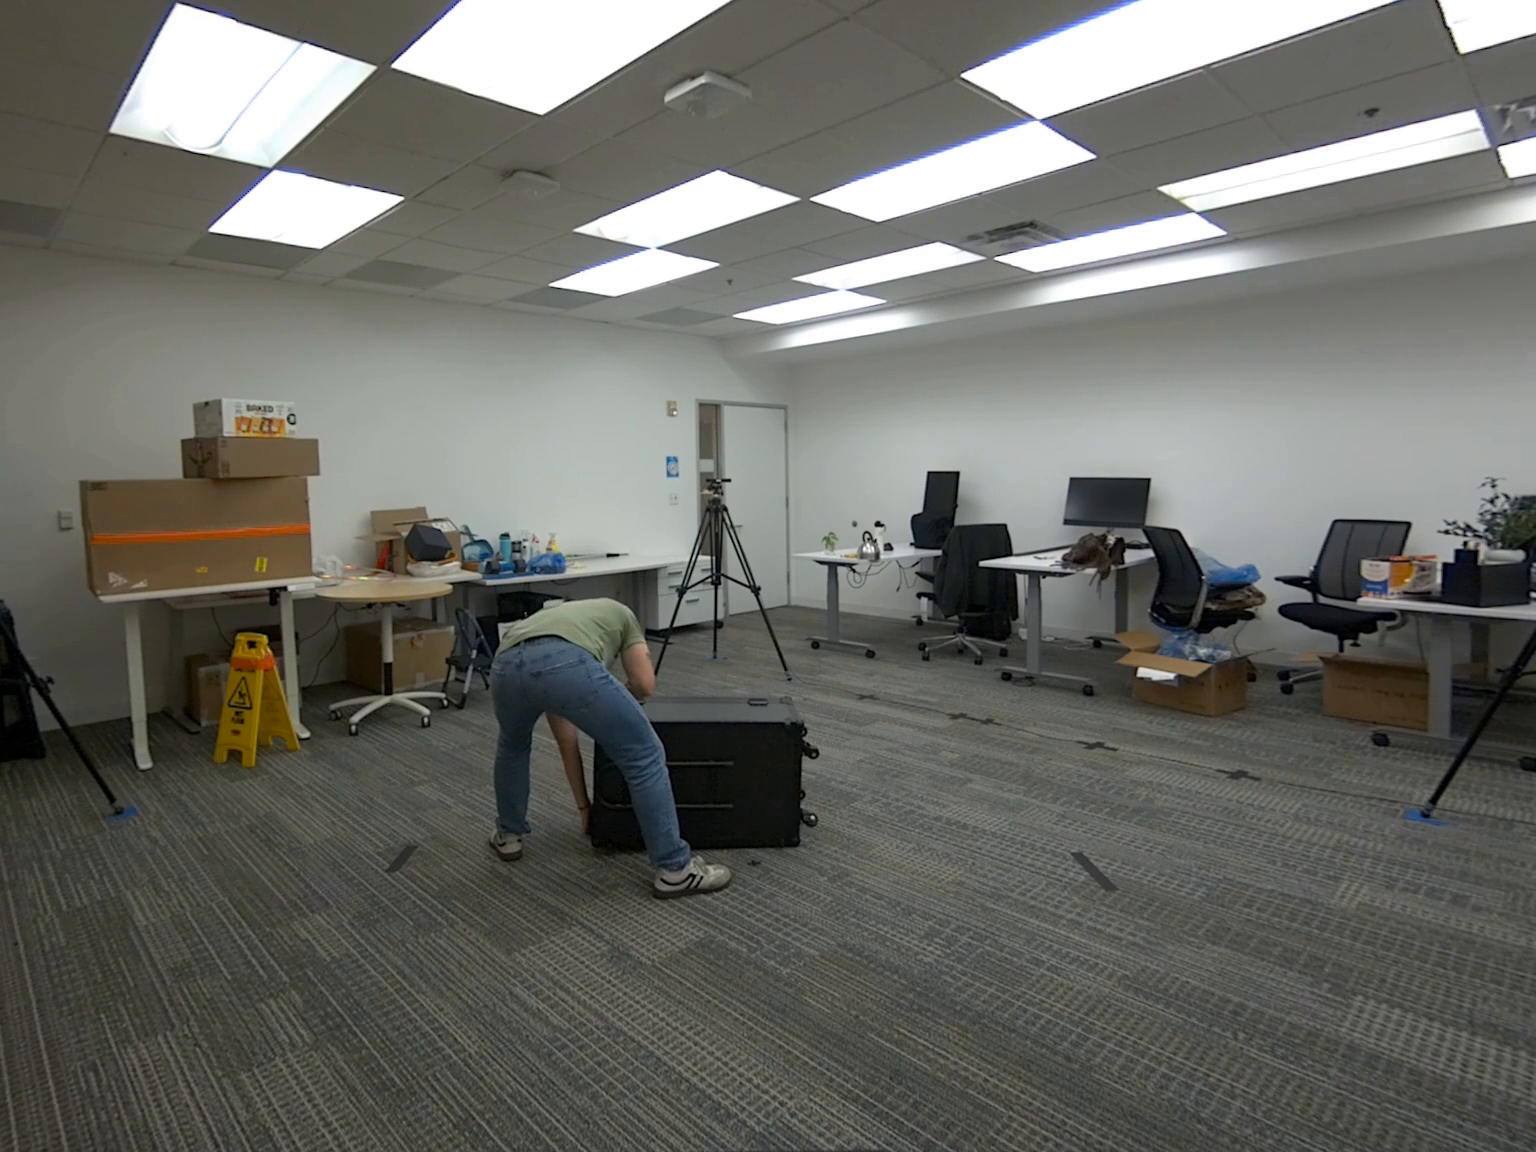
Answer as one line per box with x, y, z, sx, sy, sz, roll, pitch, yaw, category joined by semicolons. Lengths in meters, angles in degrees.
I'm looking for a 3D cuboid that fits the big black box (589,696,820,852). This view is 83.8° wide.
-0.244;0.747;3.356;0.858;0.519;0.400;1;5;-5;big black box
